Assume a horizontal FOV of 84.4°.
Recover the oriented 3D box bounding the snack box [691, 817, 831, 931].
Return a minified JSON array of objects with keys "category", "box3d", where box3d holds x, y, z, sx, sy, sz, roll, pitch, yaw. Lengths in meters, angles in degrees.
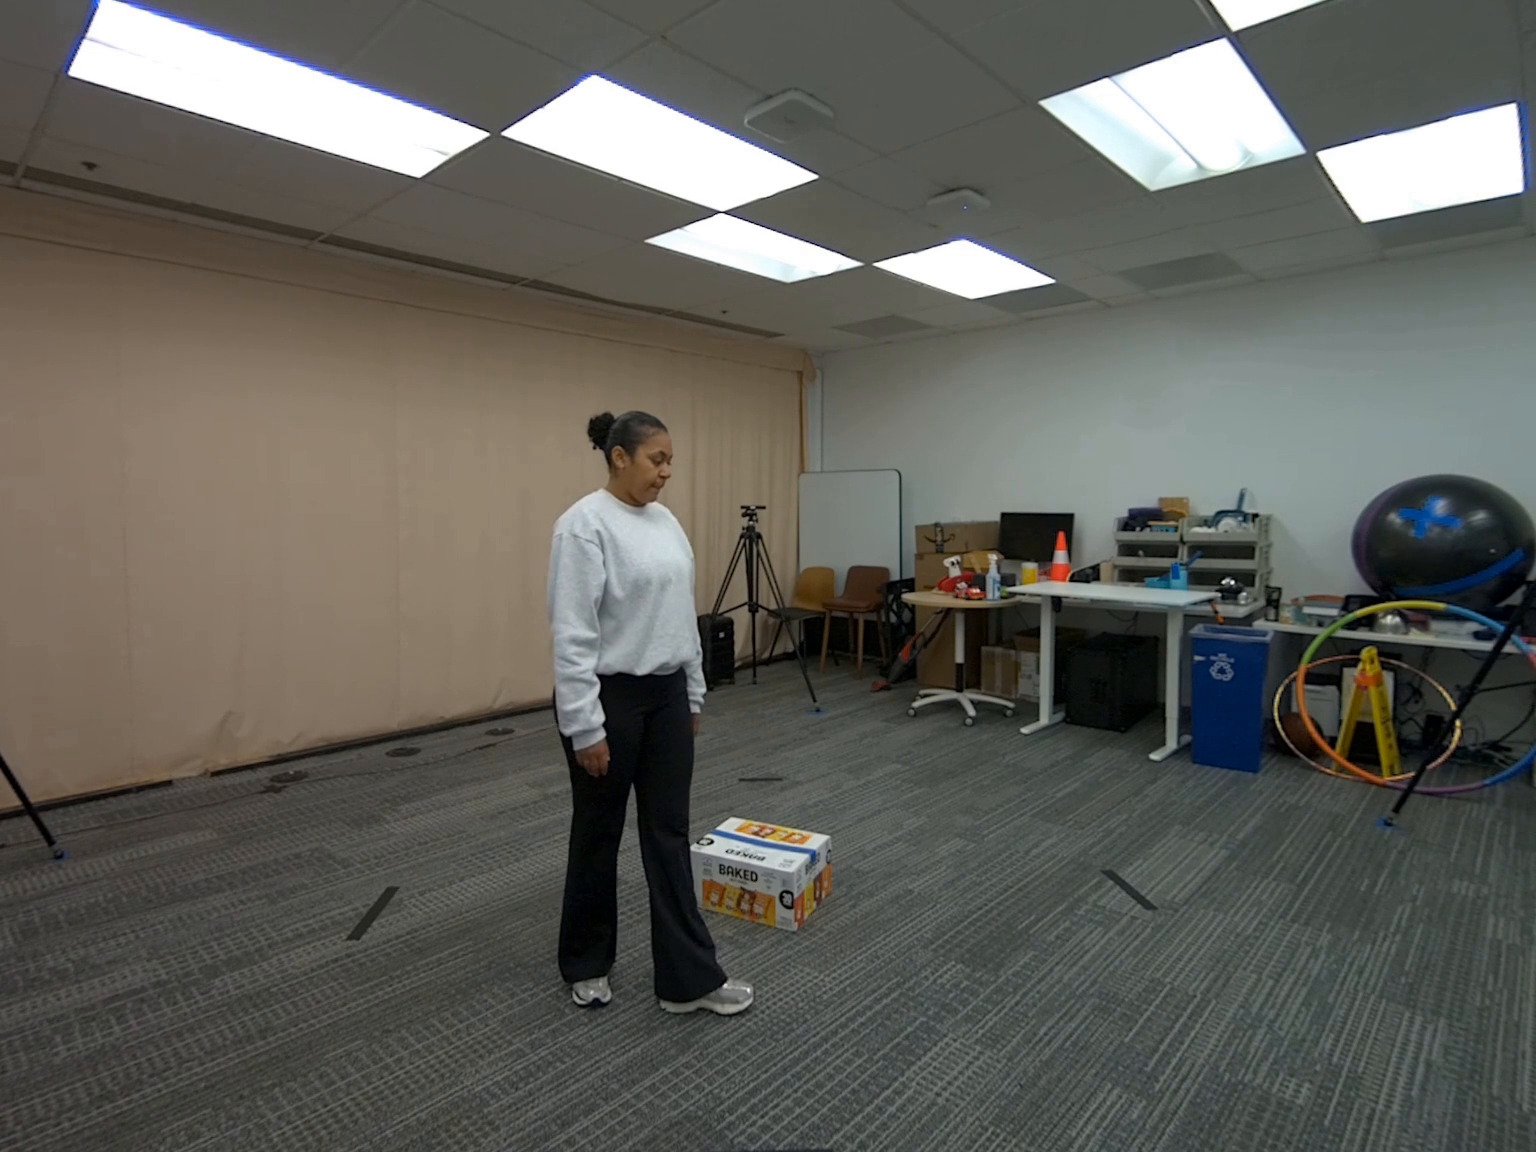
[{"category":"snack box","box3d":[-0.023,1.043,2.979,0.416,0.205,0.332,2,4,27]}]
